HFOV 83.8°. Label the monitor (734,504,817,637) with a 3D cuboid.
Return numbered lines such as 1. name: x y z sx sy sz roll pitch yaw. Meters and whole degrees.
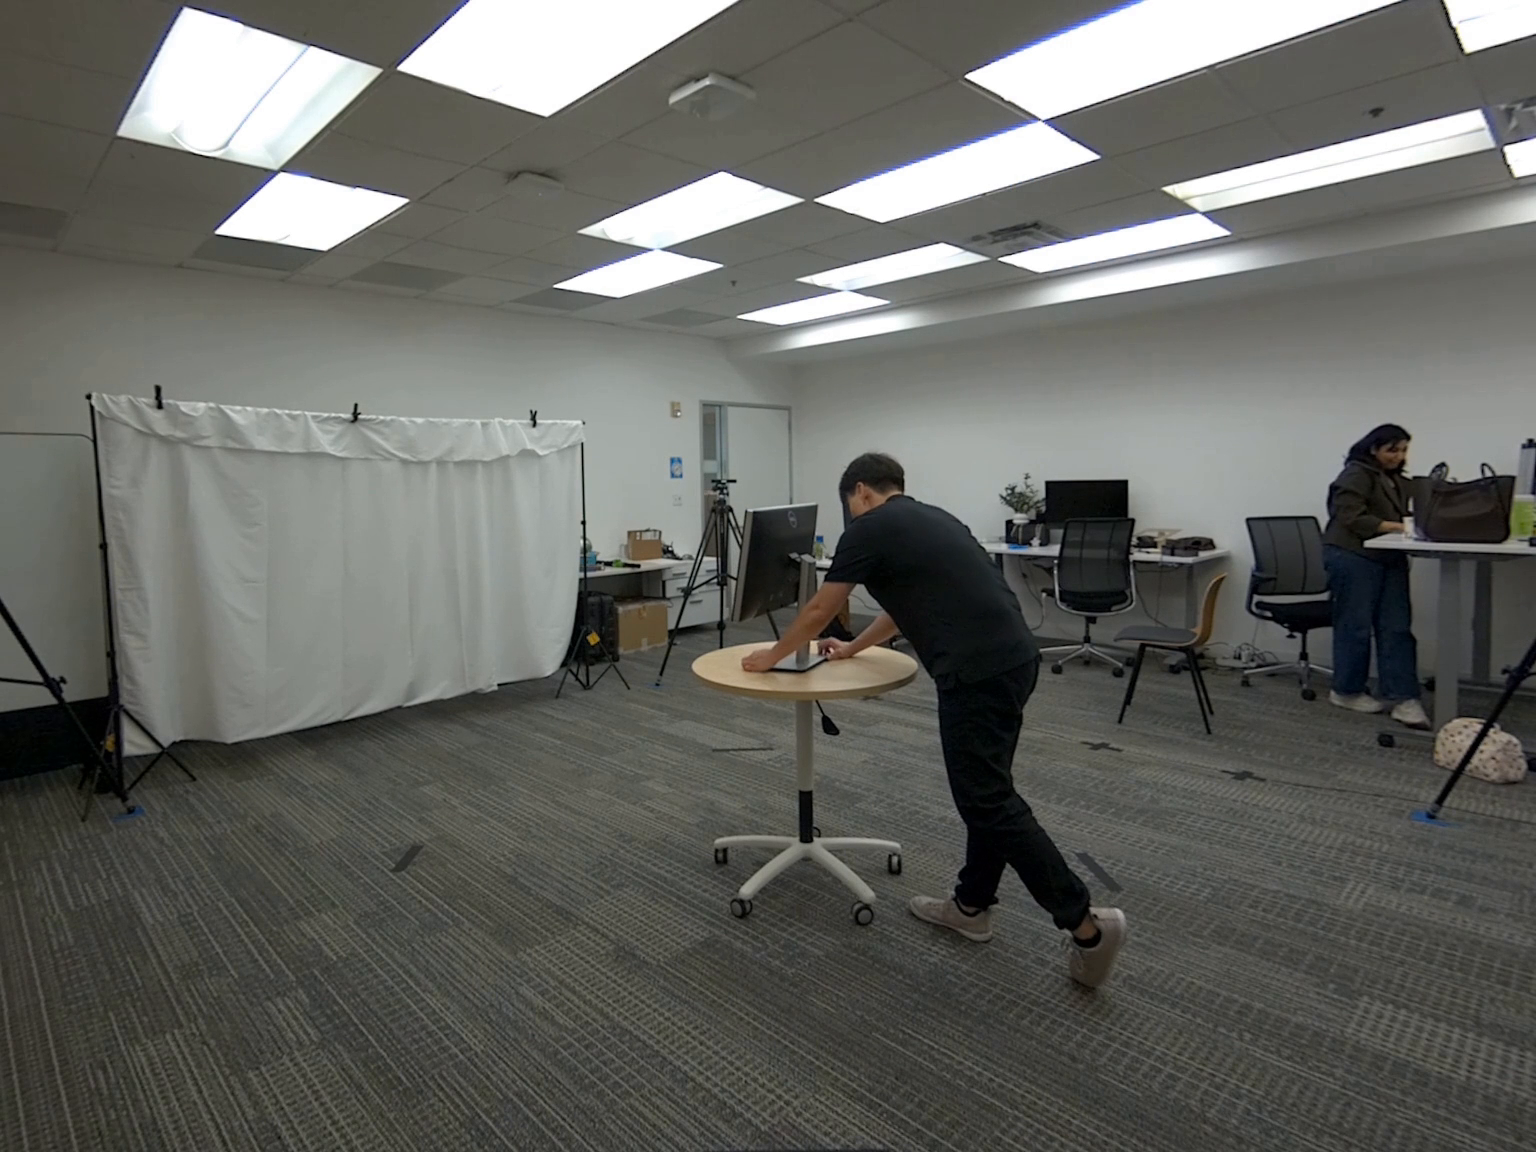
1. monitor: 0.074 0.034 2.907 0.191 0.521 0.529 -3 4 26
